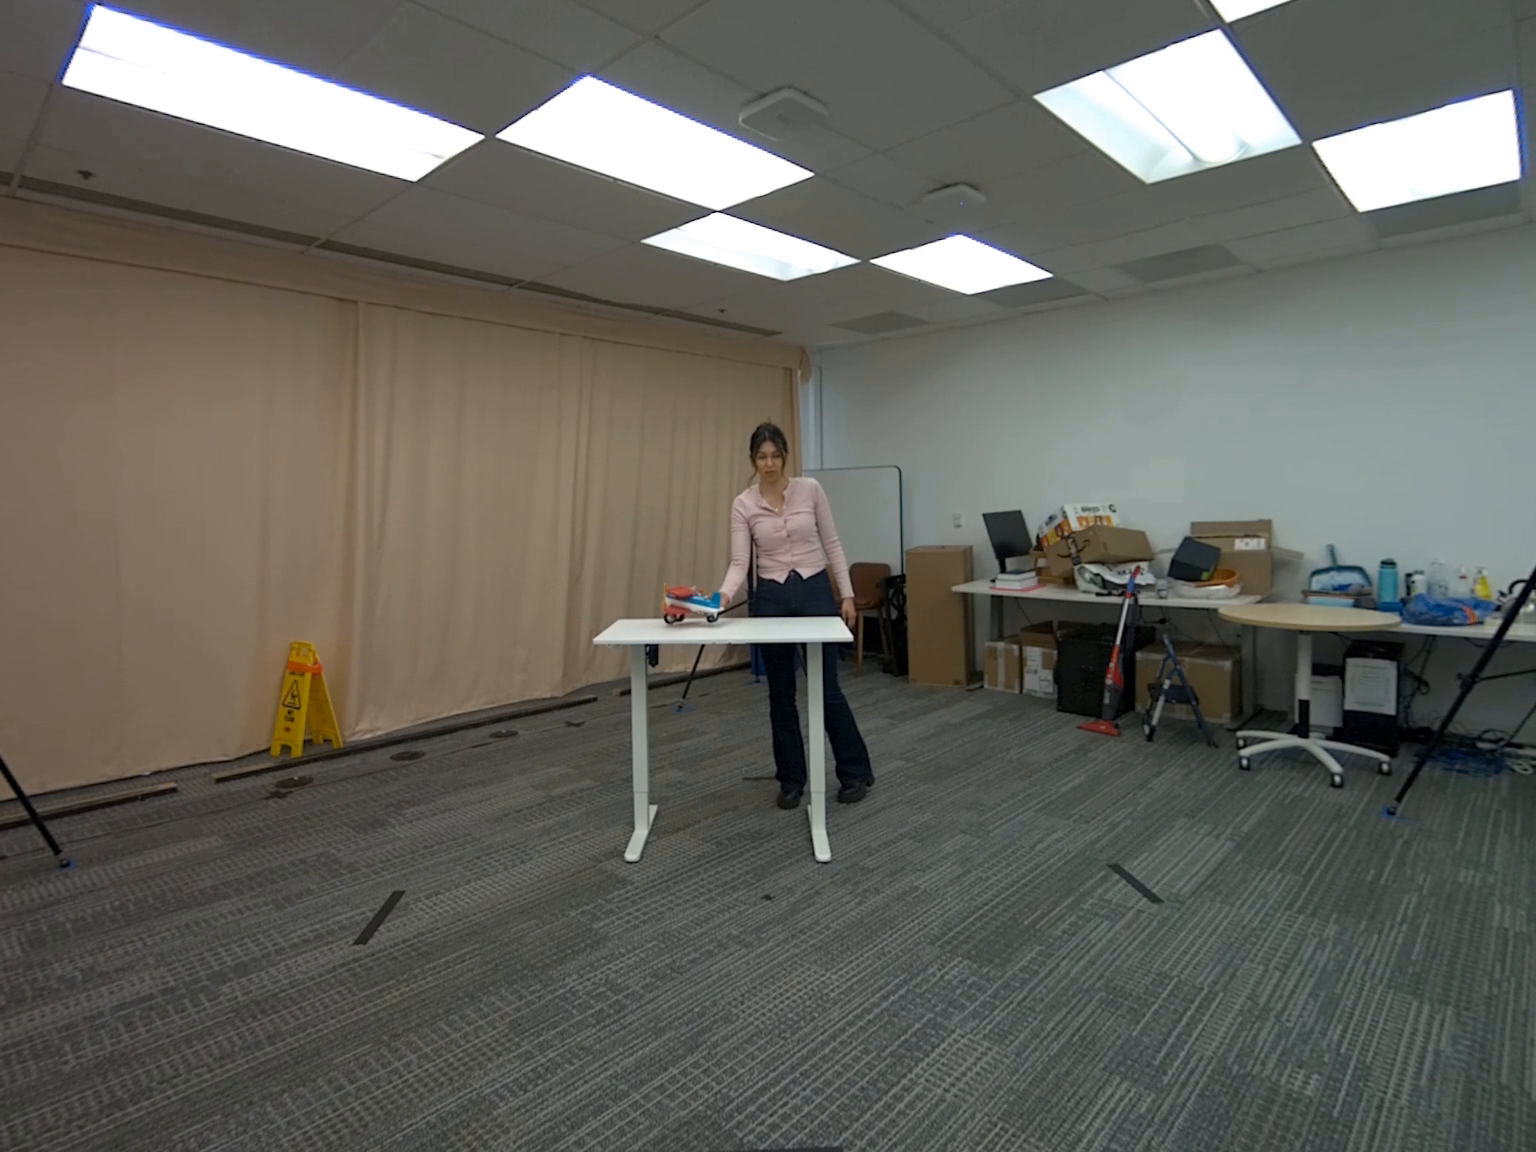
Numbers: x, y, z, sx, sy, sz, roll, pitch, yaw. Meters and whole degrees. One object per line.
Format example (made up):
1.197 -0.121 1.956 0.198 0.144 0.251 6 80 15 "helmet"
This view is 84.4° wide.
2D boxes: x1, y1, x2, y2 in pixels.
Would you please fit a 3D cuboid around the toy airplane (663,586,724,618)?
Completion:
-0.321 0.119 3.609 0.256 0.156 0.254 -4 3 -11 "toy airplane"
